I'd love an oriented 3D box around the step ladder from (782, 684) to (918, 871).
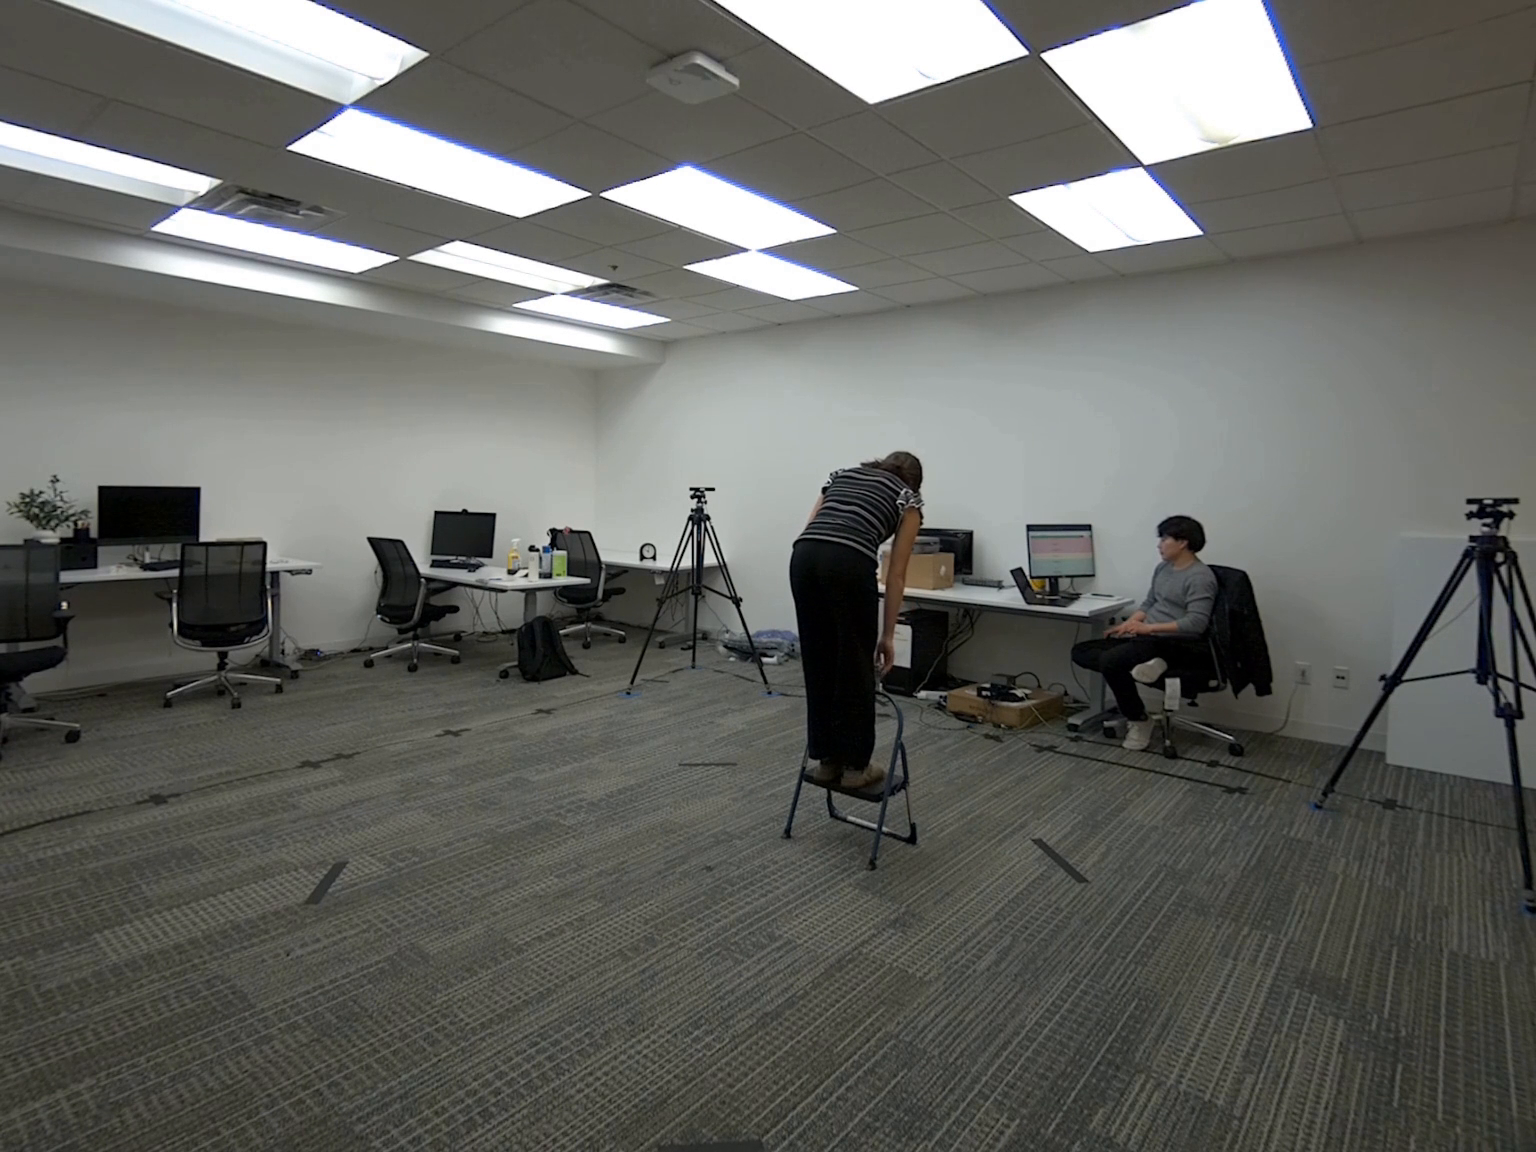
[{"bbox_3d":[0.327,0.749,3.377,0.445,0.604,0.339,5,4,40],"label":"step ladder"}]
